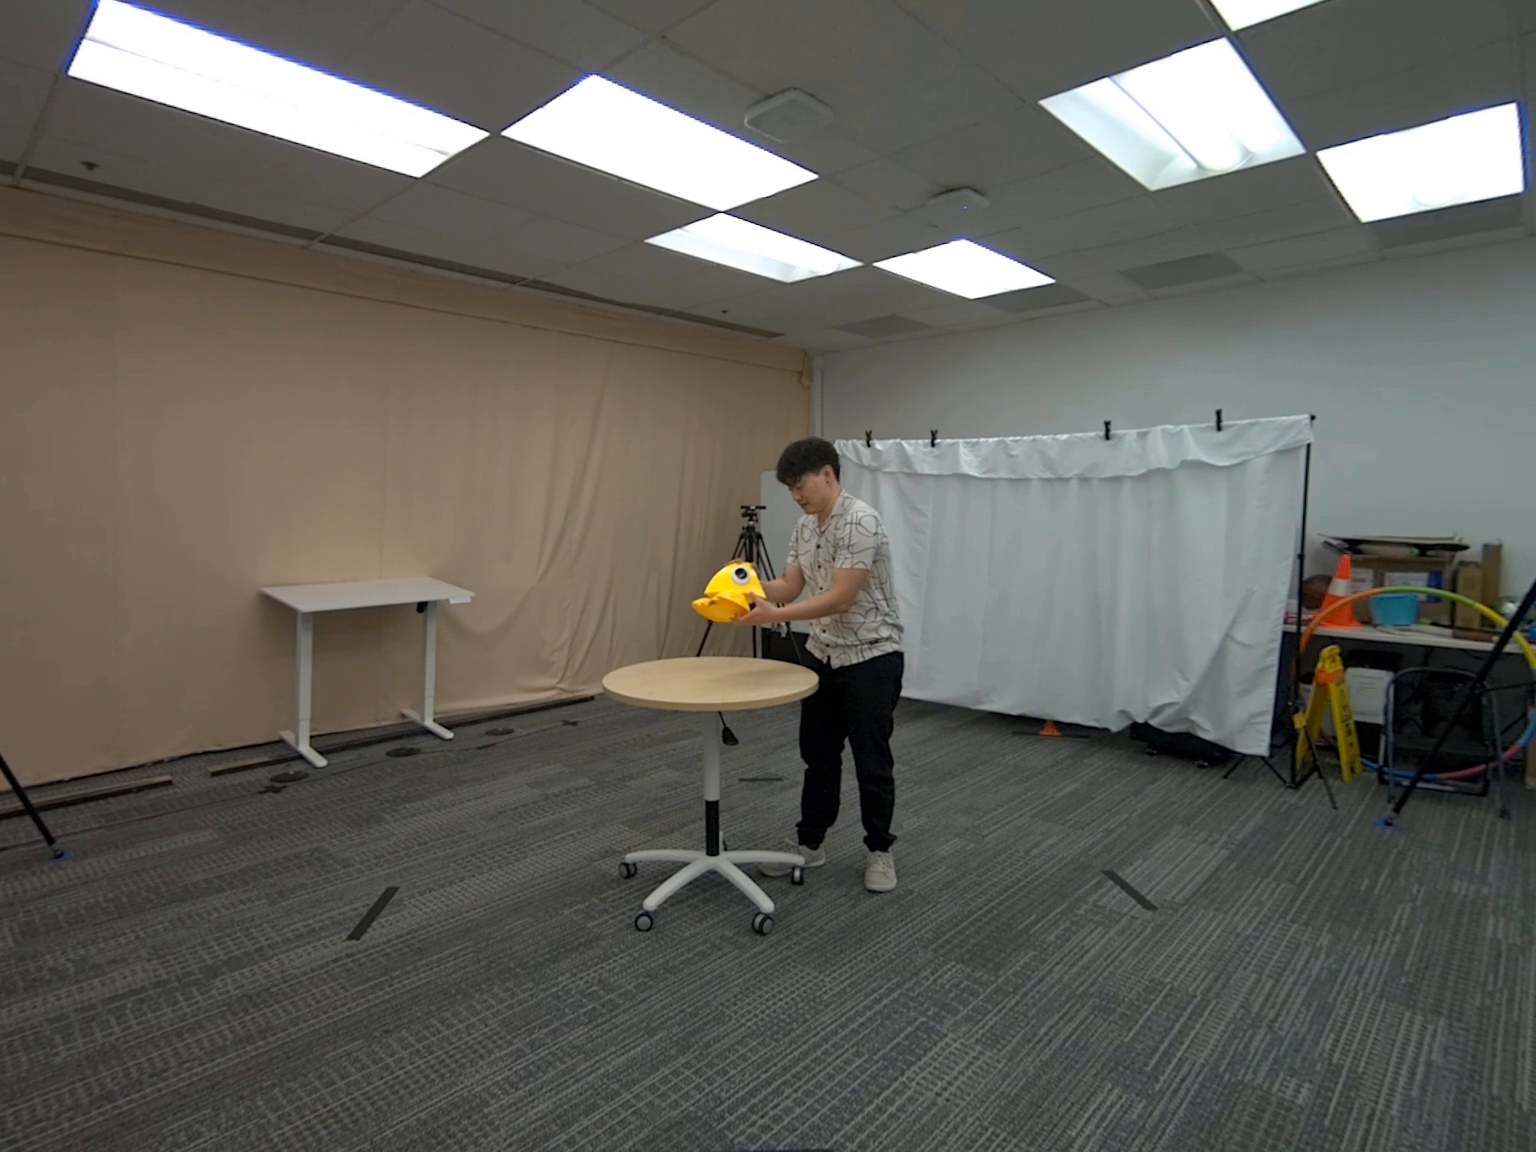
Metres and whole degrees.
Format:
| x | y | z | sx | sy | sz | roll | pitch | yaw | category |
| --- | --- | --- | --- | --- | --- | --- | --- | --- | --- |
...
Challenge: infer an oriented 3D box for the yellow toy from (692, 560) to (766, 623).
| x | y | z | sx | sy | sz | roll | pitch | yaw | category |
| --- | --- | --- | --- | --- | --- | --- | --- | --- | --- |
| -0.127 | 0.030 | 2.990 | 0.187 | 0.232 | 0.210 | 33 | -33 | -31 | yellow toy |
